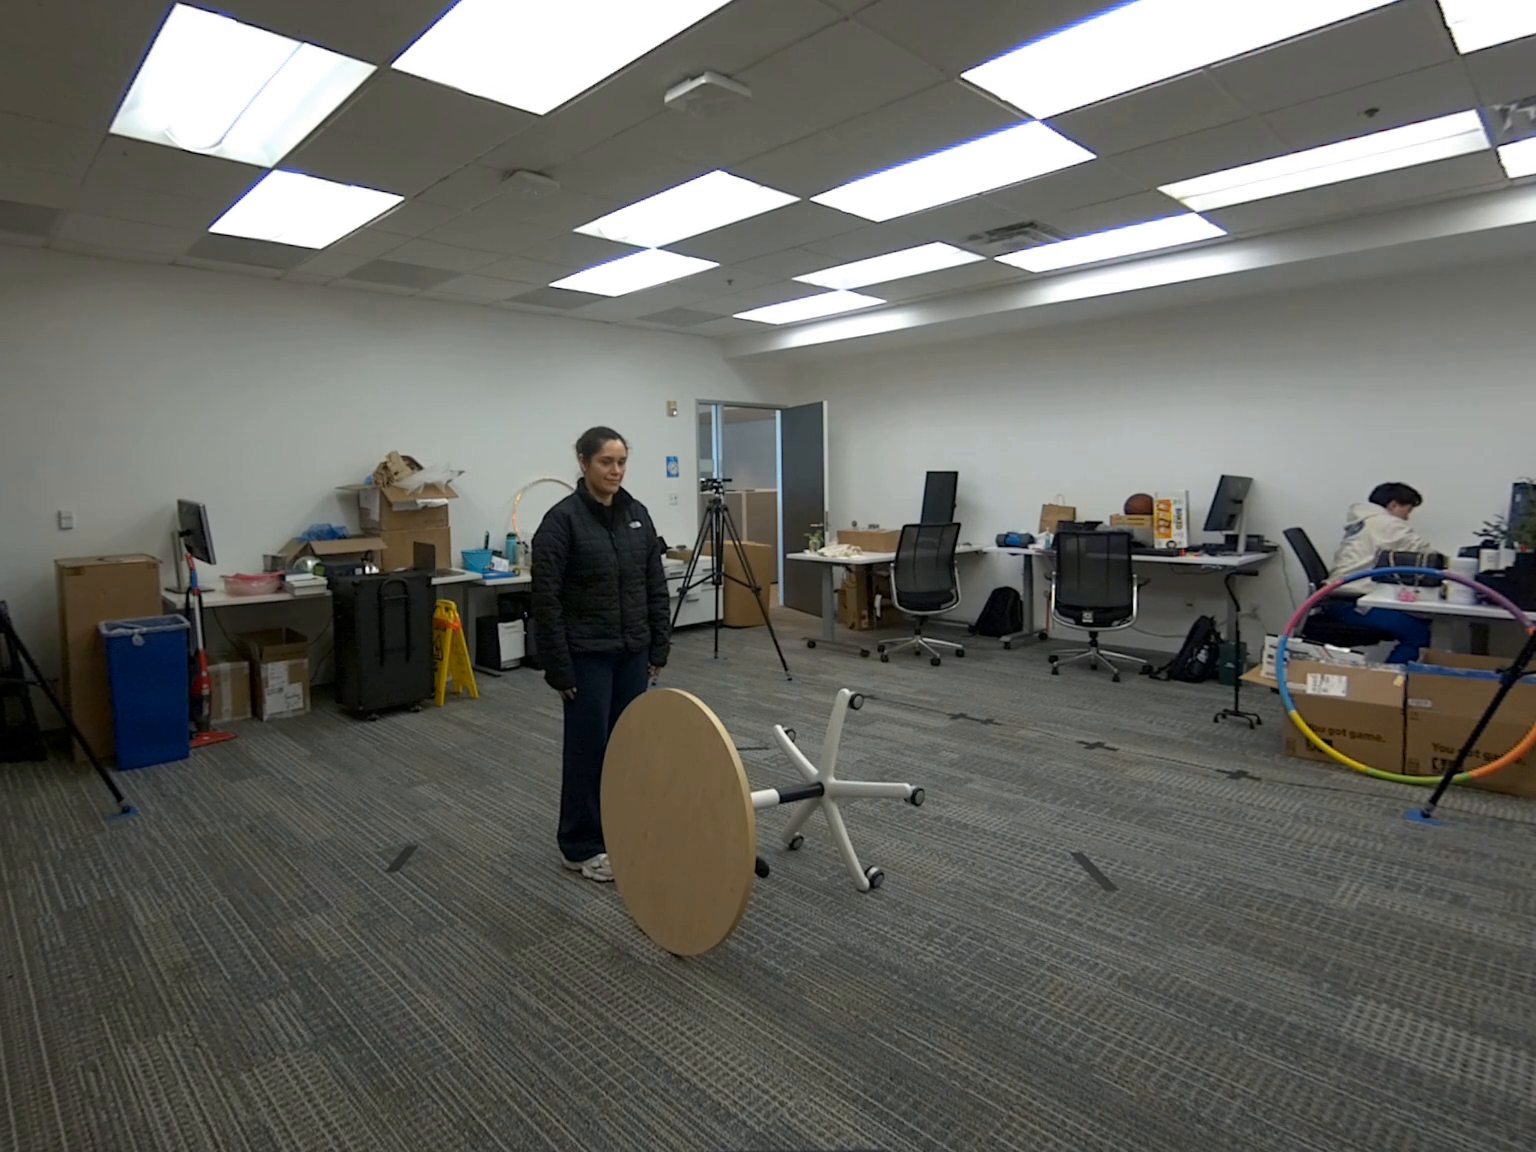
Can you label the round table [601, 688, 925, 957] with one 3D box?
[{"bbox_3d":[-0.015,0.731,2.841,0.763,0.785,0.809,2,1,-42],"label":"round table"}]
